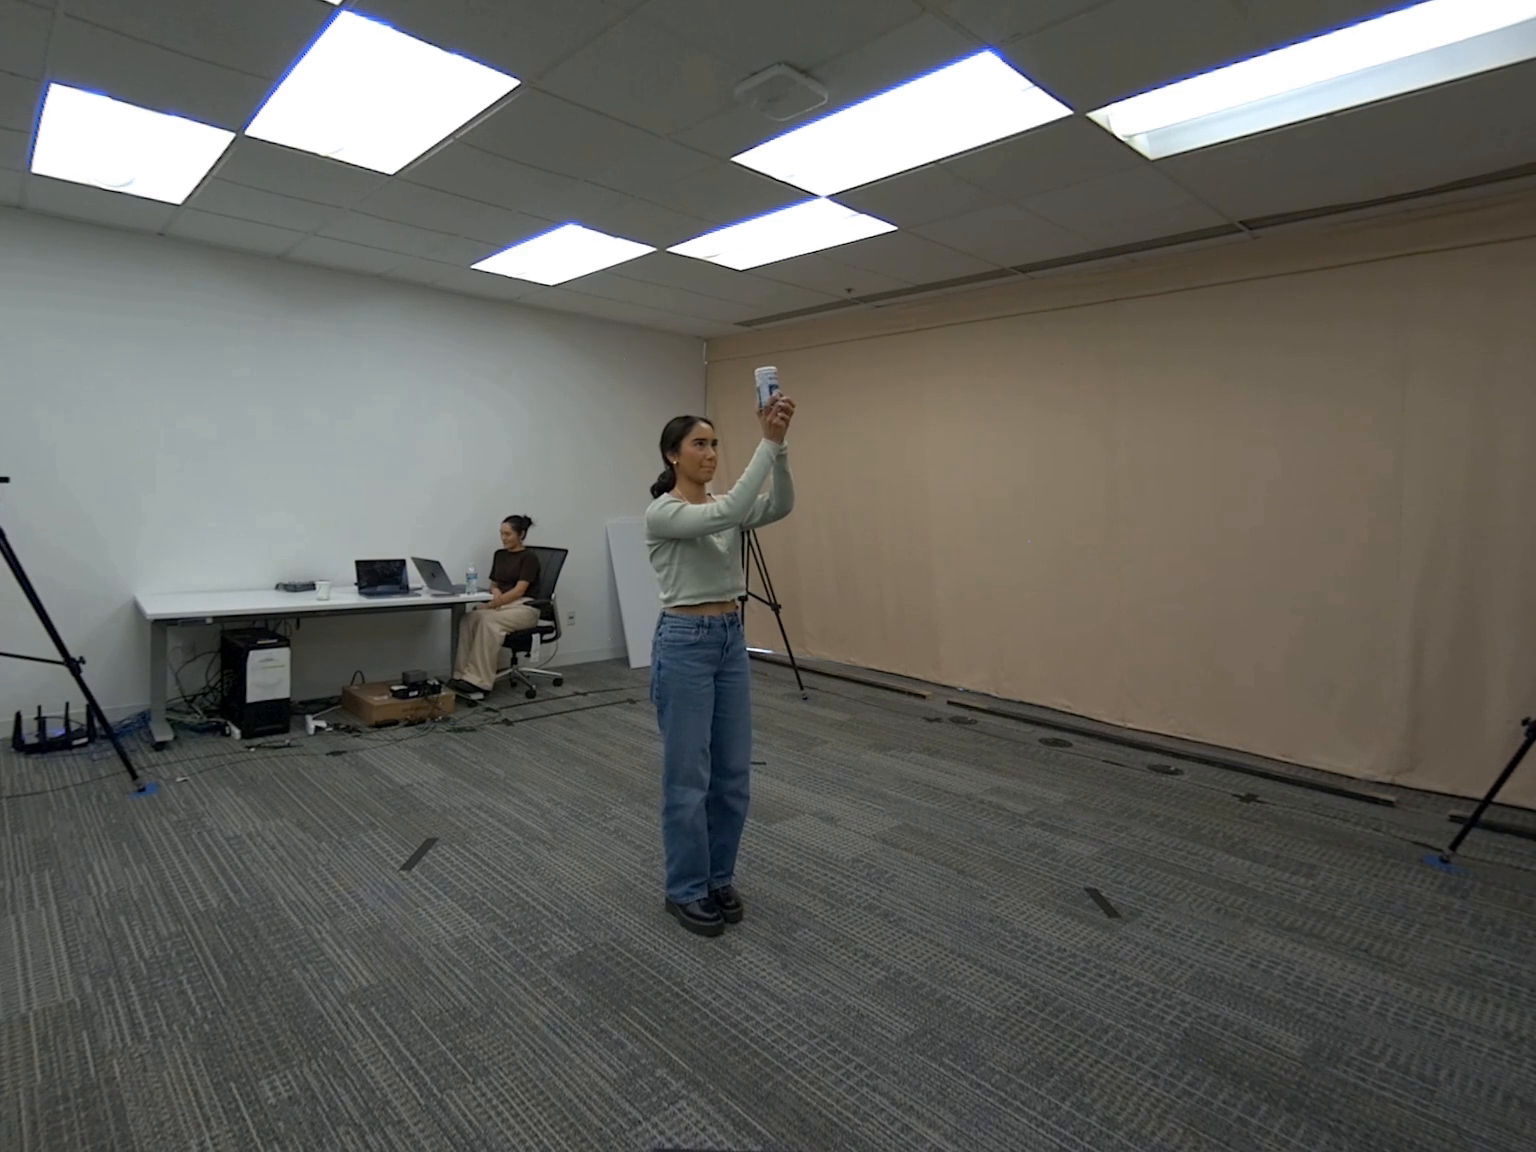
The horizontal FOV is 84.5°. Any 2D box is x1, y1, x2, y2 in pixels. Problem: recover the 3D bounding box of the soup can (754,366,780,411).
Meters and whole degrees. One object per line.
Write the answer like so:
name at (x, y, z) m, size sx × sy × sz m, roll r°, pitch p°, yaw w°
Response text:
soup can at (0.003, -0.552, 2.492) m, size 0.067 × 0.121 × 0.067 m, roll -10°, pitch 0°, yaw -1°
